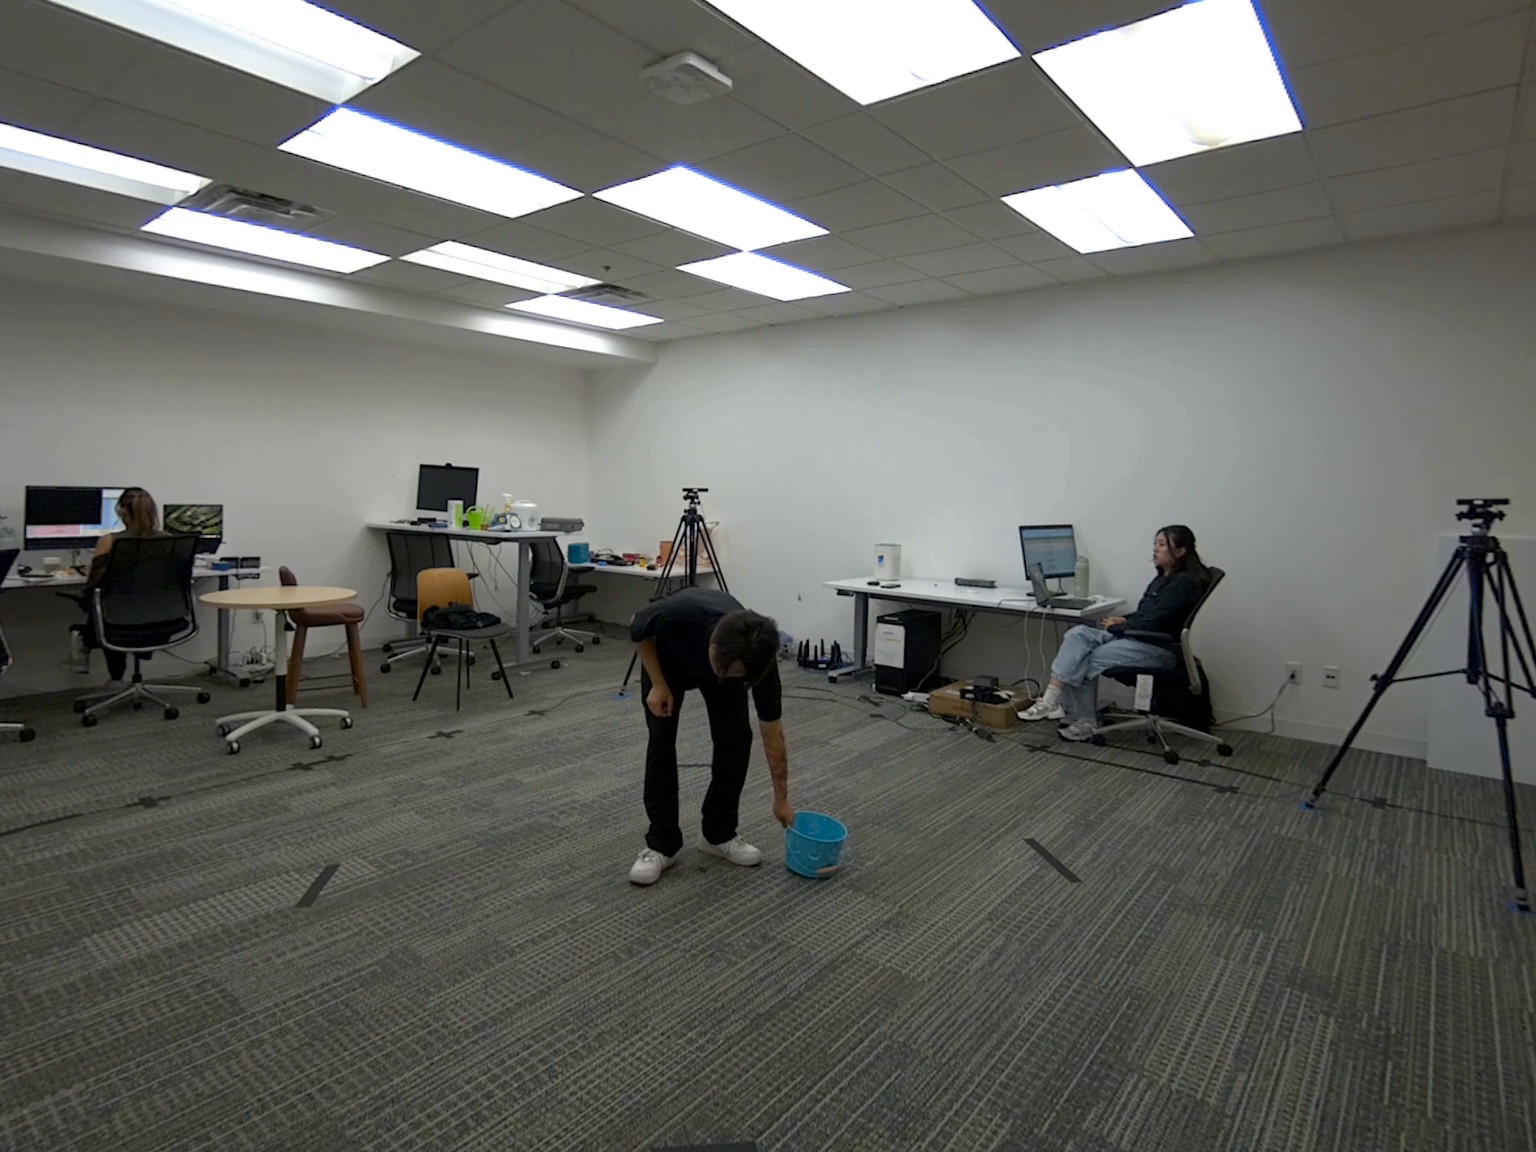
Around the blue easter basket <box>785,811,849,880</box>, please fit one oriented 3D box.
[{"bbox_3d":[0.162,0.987,3.130,0.243,0.155,0.245,8,7,-3],"label":"blue easter basket"}]
